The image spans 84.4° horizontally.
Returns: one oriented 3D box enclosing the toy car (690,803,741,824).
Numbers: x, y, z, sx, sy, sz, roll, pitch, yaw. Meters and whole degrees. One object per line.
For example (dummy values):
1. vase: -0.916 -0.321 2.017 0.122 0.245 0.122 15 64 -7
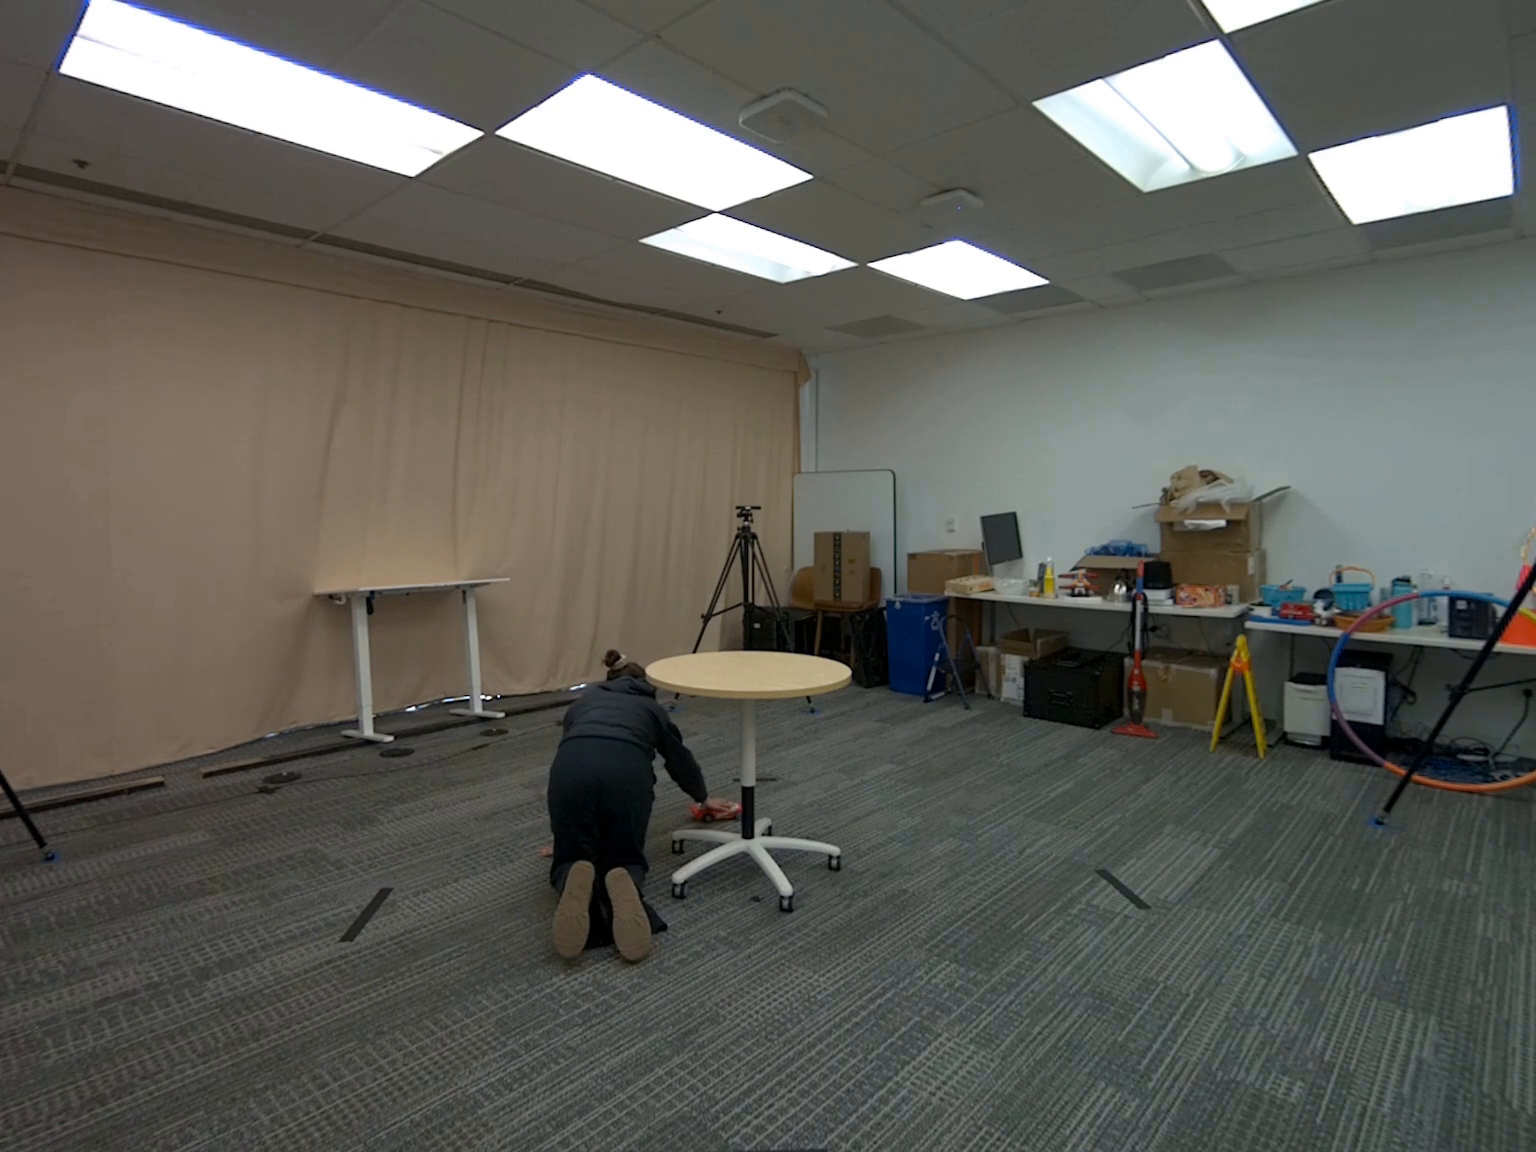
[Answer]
1. toy car: -0.208 1.047 3.762 0.251 0.083 0.132 9 3 -11
